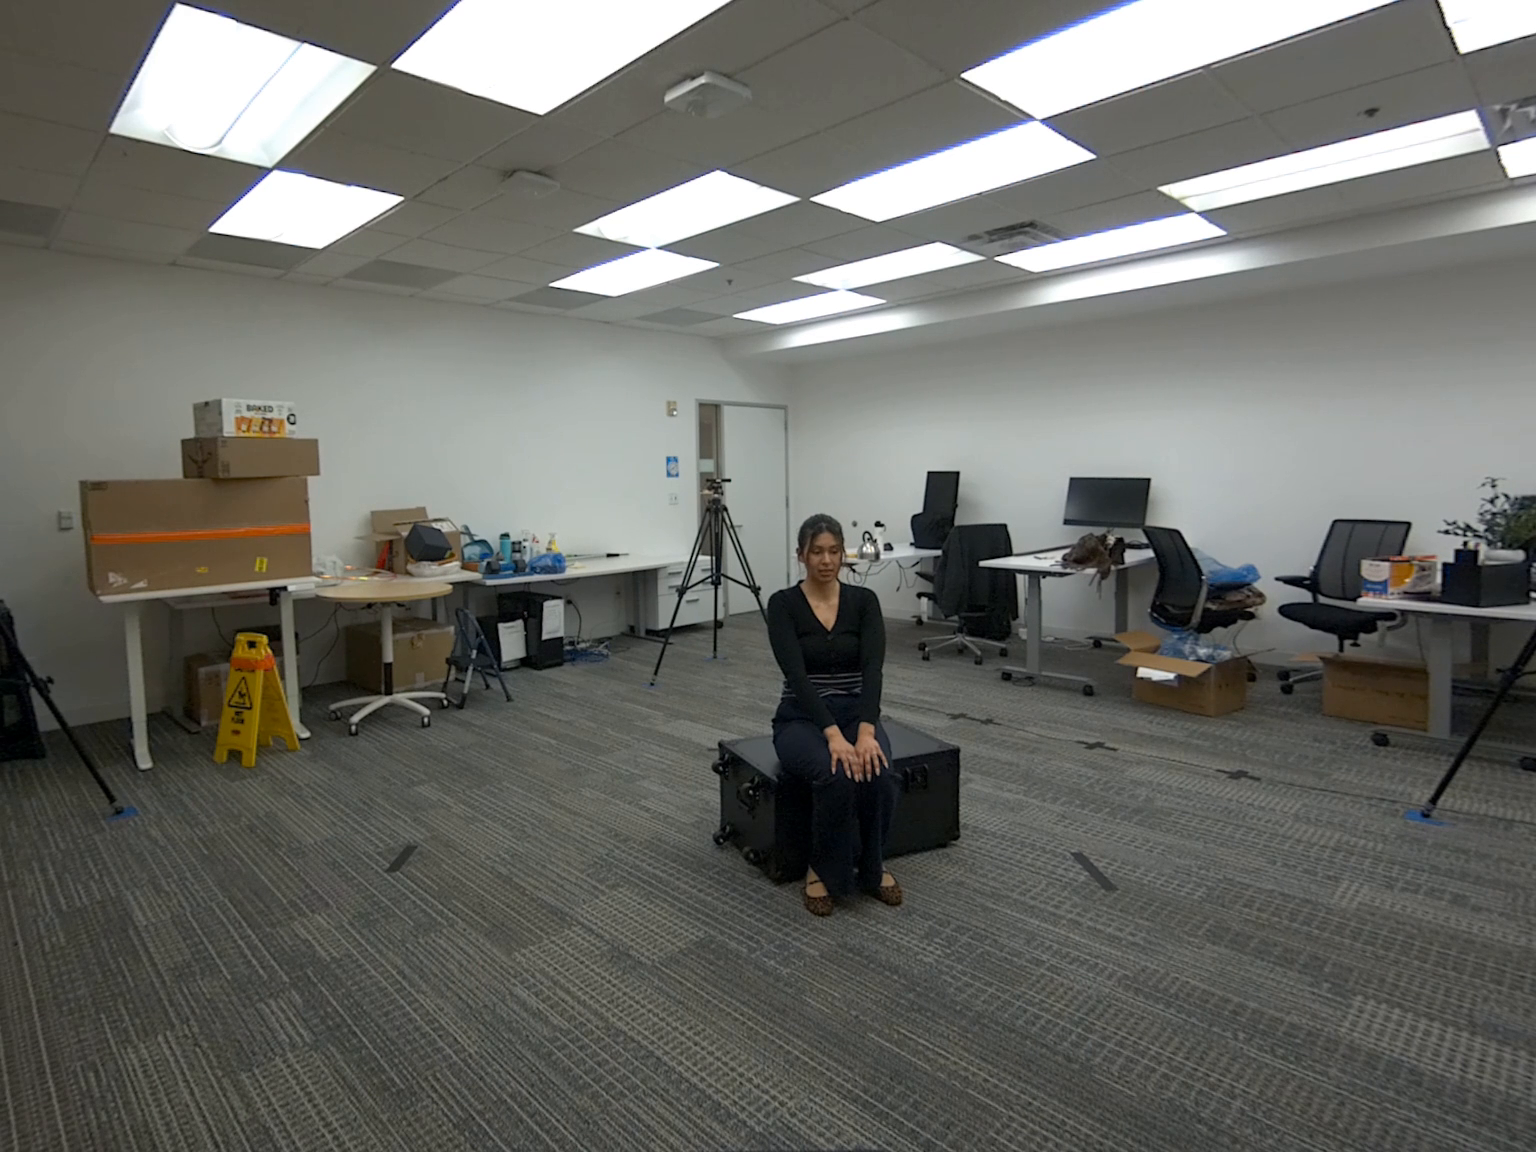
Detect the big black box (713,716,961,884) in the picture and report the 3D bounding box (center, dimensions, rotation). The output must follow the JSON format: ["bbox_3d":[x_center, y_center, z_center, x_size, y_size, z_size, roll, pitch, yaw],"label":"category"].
[{"bbox_3d":[0.293,0.827,3.290,0.844,0.394,0.534,-4,6,-25],"label":"big black box"}]
